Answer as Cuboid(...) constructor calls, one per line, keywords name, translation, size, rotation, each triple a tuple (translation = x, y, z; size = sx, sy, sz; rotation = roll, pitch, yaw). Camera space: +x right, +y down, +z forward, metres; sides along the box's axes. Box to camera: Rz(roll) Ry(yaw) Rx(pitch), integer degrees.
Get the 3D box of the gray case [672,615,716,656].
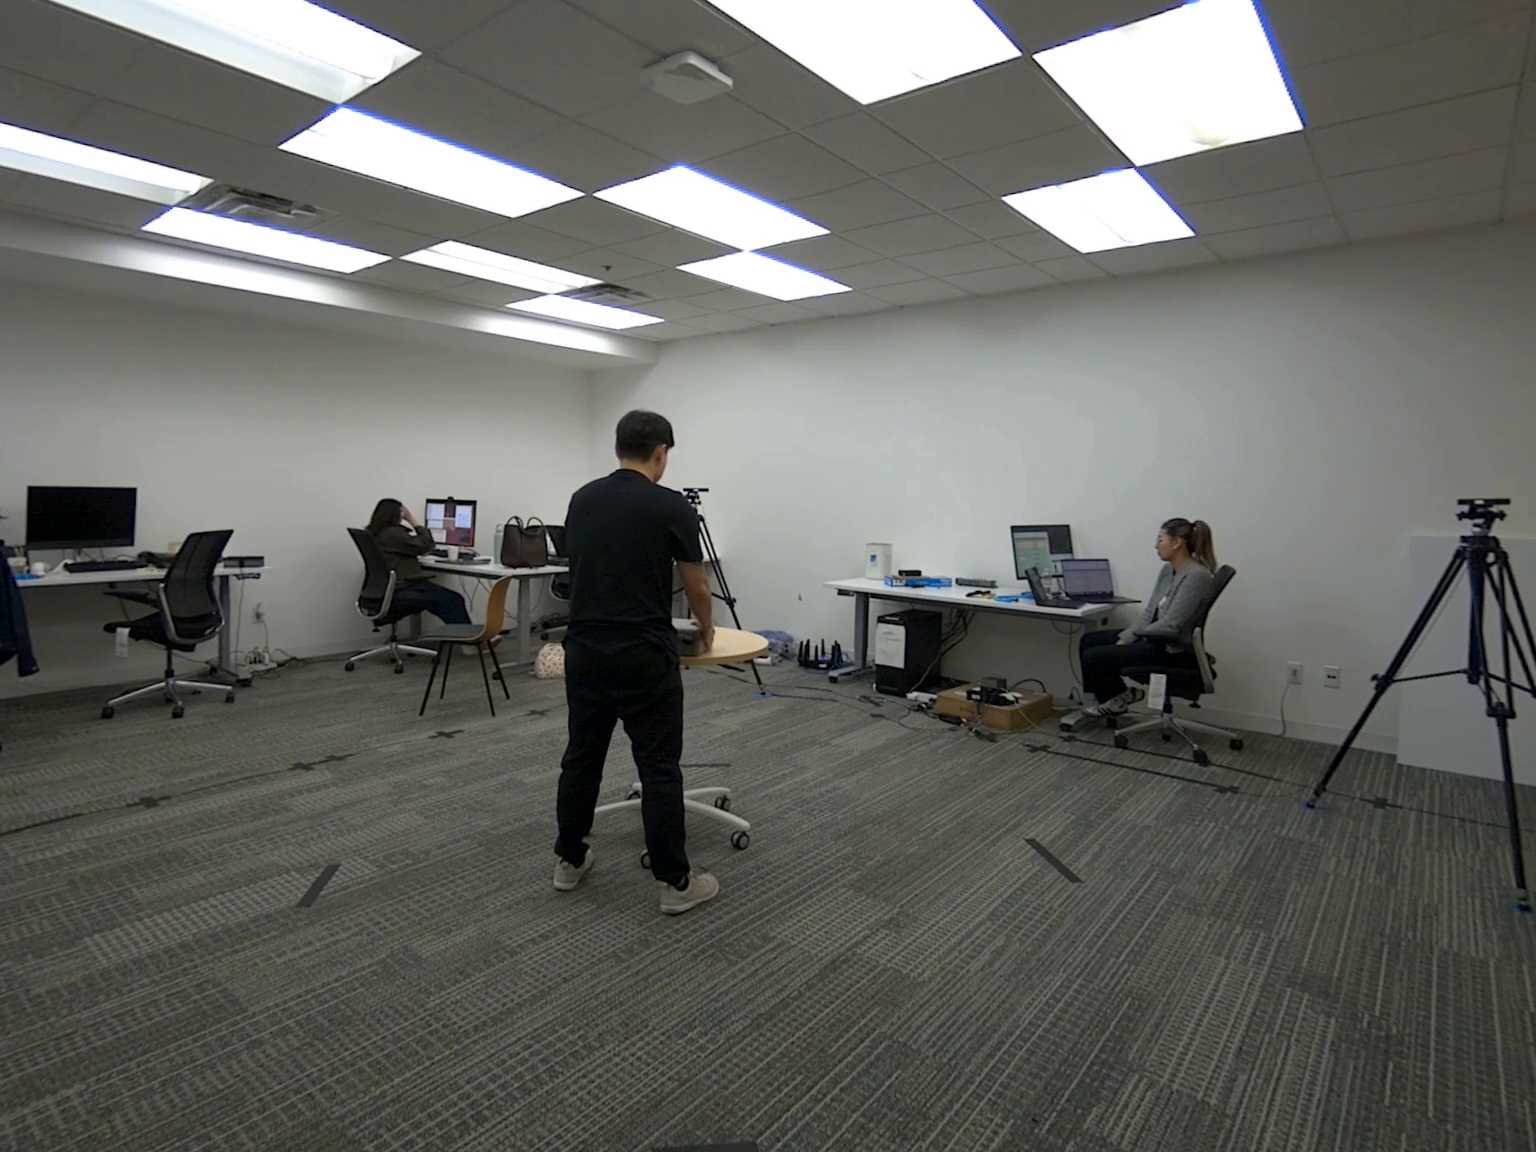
Cuboid(name="gray case", translation=(-0.357, 0.222, 3.208), size=(0.260, 0.104, 0.258), rotation=(0, 5, 11))
